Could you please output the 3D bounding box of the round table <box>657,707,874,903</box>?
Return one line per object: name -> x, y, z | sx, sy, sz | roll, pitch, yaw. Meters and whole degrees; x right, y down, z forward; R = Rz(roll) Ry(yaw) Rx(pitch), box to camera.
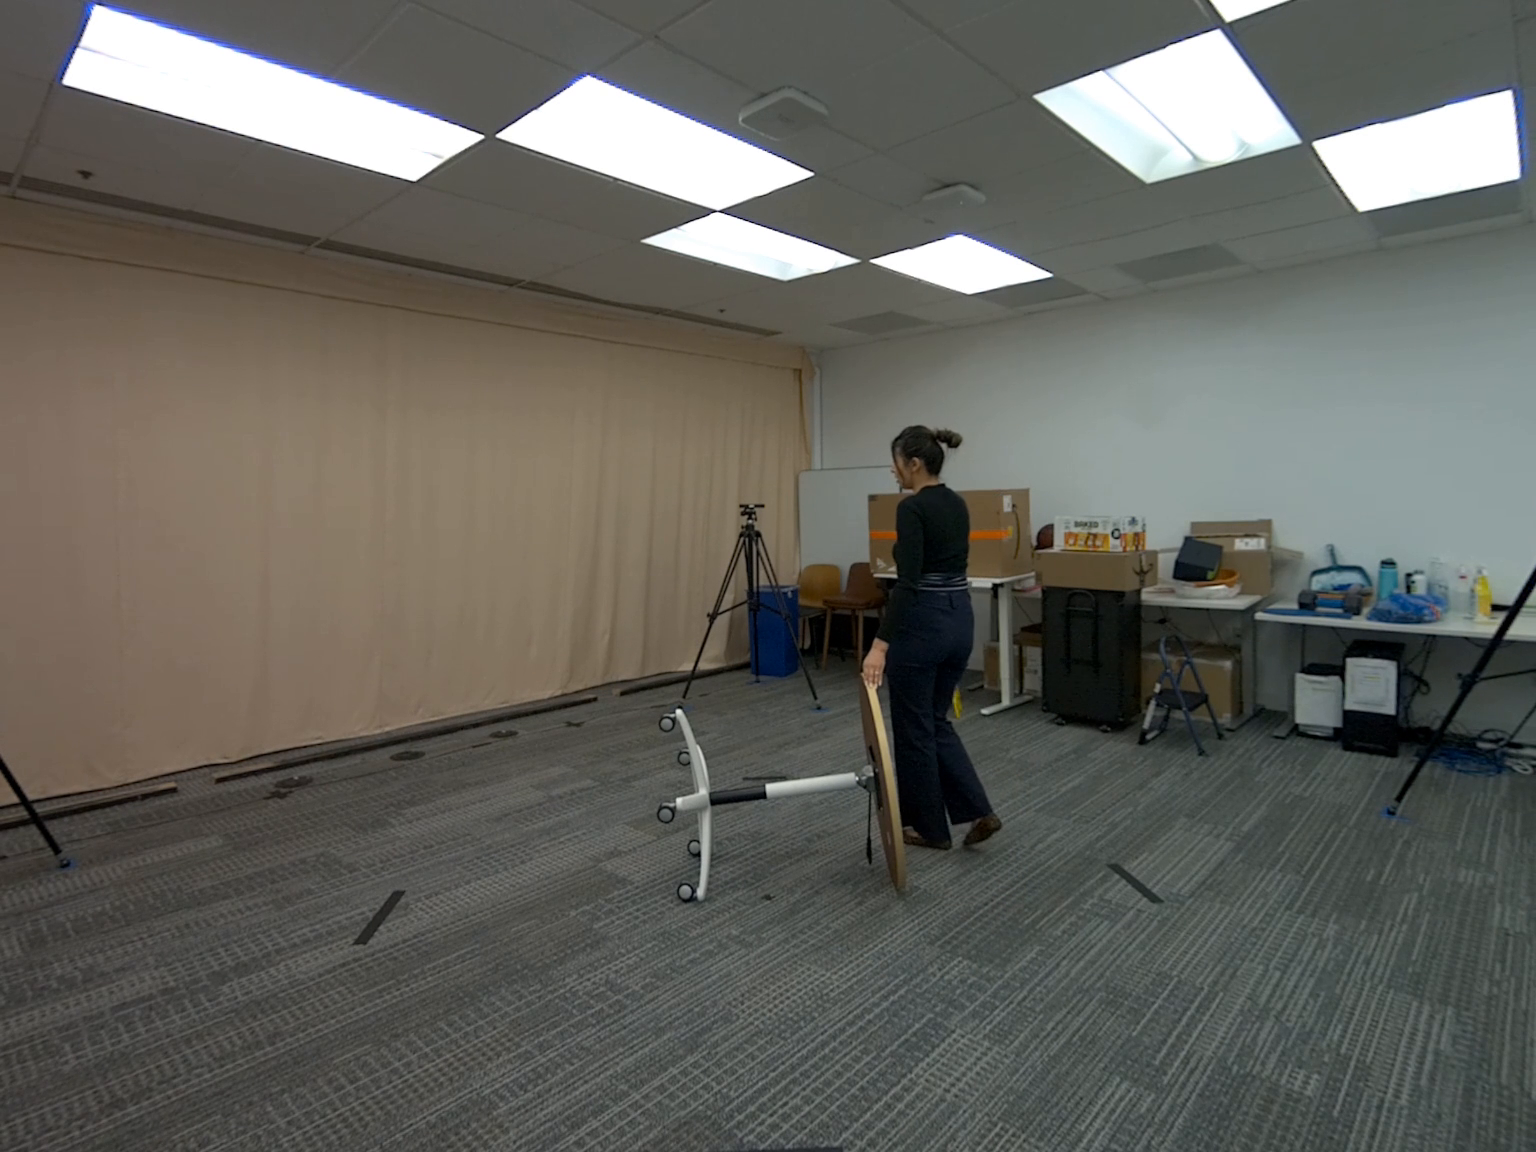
round table -> 0.039, 0.797, 3.120 | 0.796, 0.762, 0.764 | -8, 4, 2
